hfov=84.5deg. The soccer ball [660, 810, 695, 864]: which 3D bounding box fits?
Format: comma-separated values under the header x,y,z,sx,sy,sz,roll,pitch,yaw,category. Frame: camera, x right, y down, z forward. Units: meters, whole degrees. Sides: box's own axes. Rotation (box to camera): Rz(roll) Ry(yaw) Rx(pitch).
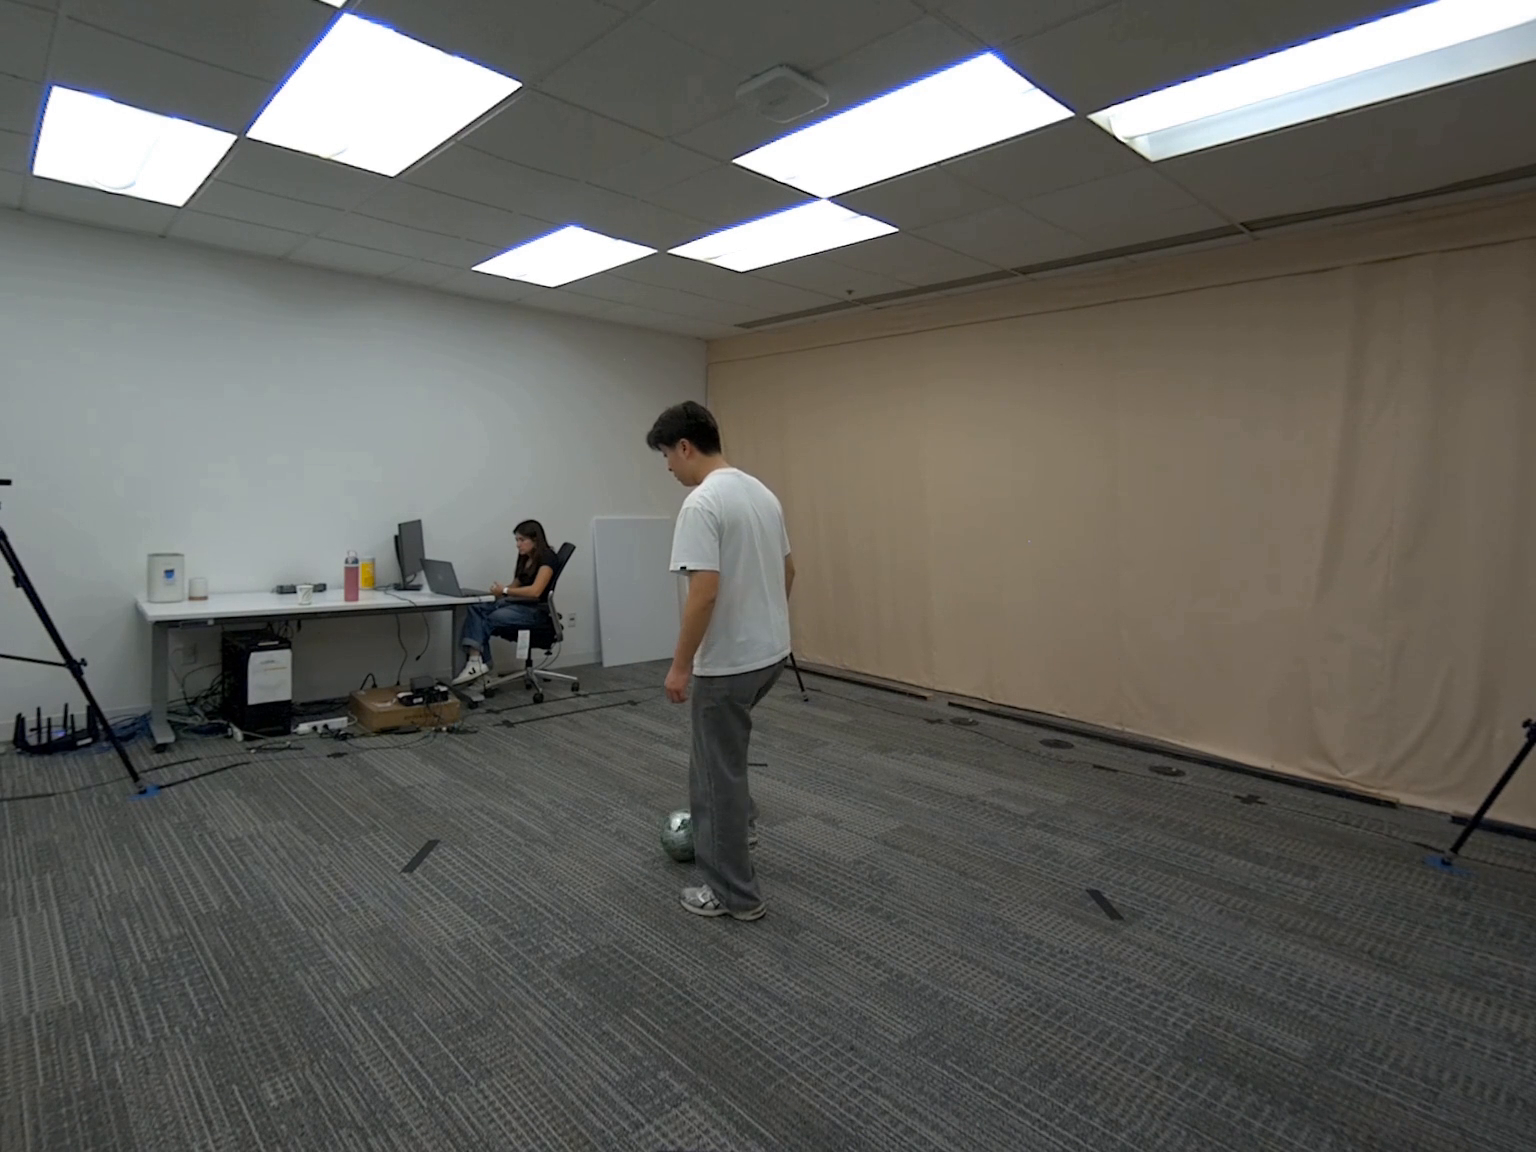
x,y,z,sx,sy,sz,roll,pitch,yaw,category
-0.320,0.994,3.237,0.187,0.187,0.188,1,4,-1,soccer ball
